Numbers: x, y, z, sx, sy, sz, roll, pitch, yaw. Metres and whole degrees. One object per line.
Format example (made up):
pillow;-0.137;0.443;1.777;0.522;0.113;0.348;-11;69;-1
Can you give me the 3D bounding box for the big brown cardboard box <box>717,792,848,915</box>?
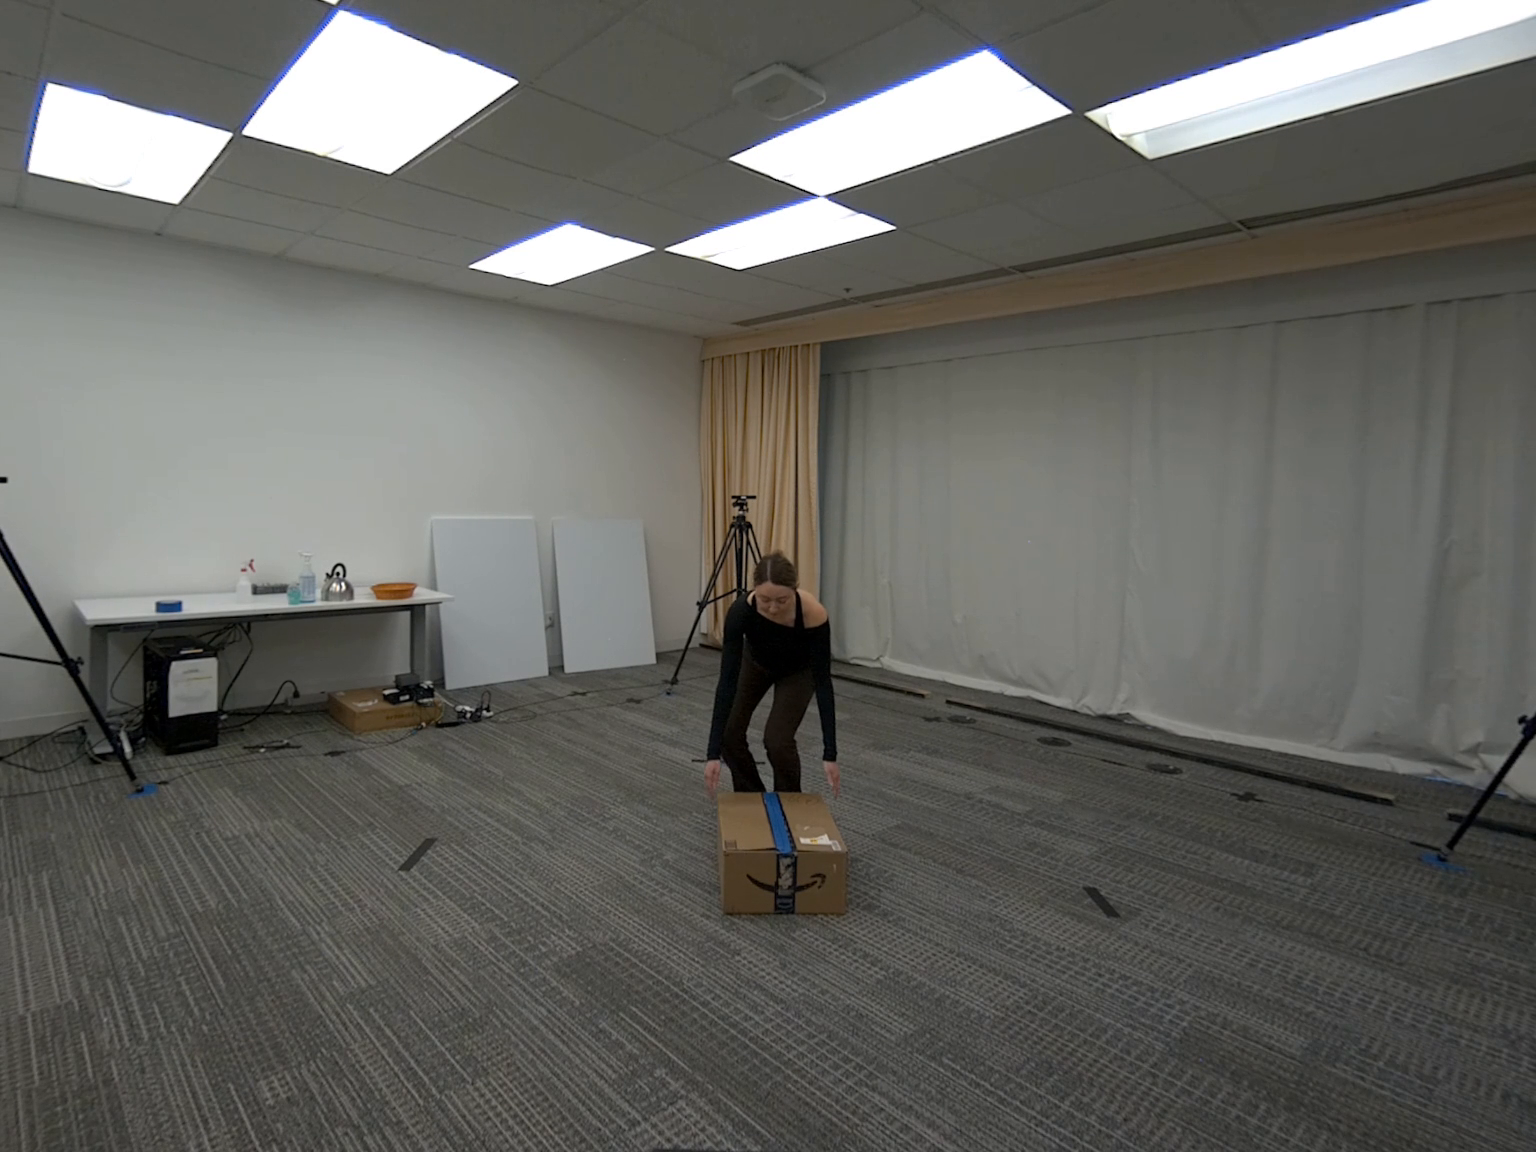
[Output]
big brown cardboard box;0.023;0.994;3.073;0.416;0.232;0.592;1;4;-5
